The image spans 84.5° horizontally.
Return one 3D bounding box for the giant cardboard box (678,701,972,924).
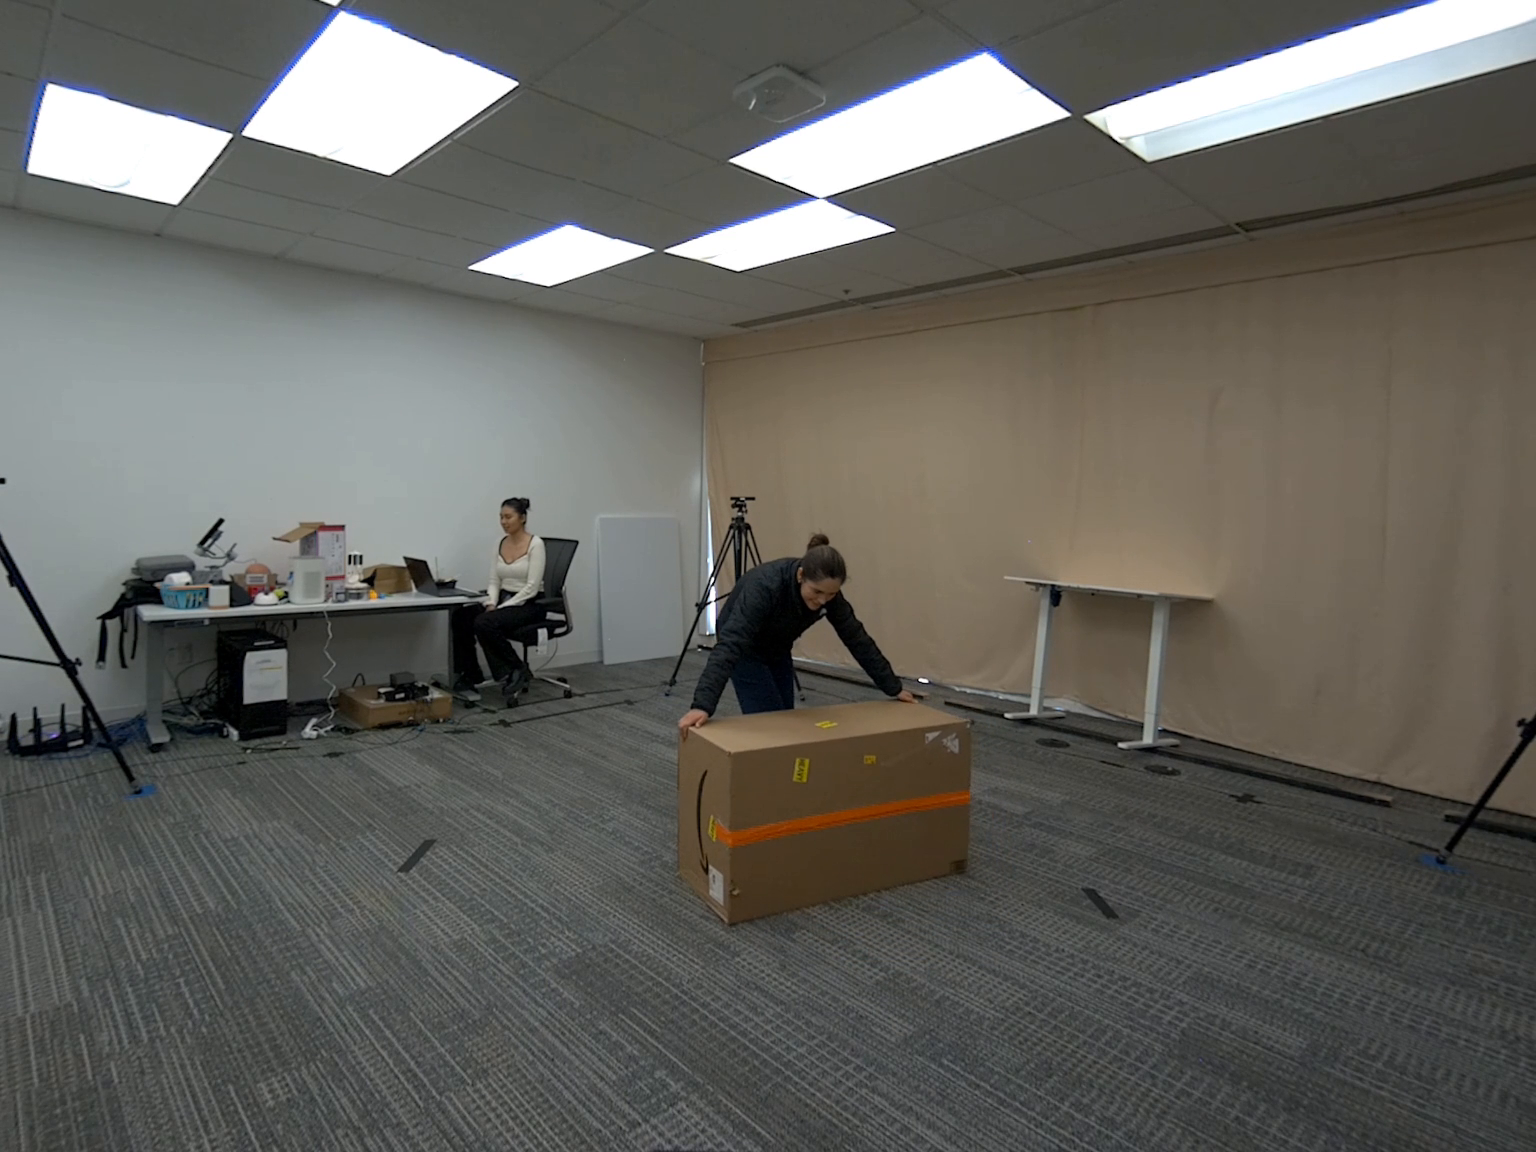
[{"bbox_3d":[0.213,0.826,3.125,1.007,0.582,0.457,-2,5,-28],"label":"giant cardboard box"}]
